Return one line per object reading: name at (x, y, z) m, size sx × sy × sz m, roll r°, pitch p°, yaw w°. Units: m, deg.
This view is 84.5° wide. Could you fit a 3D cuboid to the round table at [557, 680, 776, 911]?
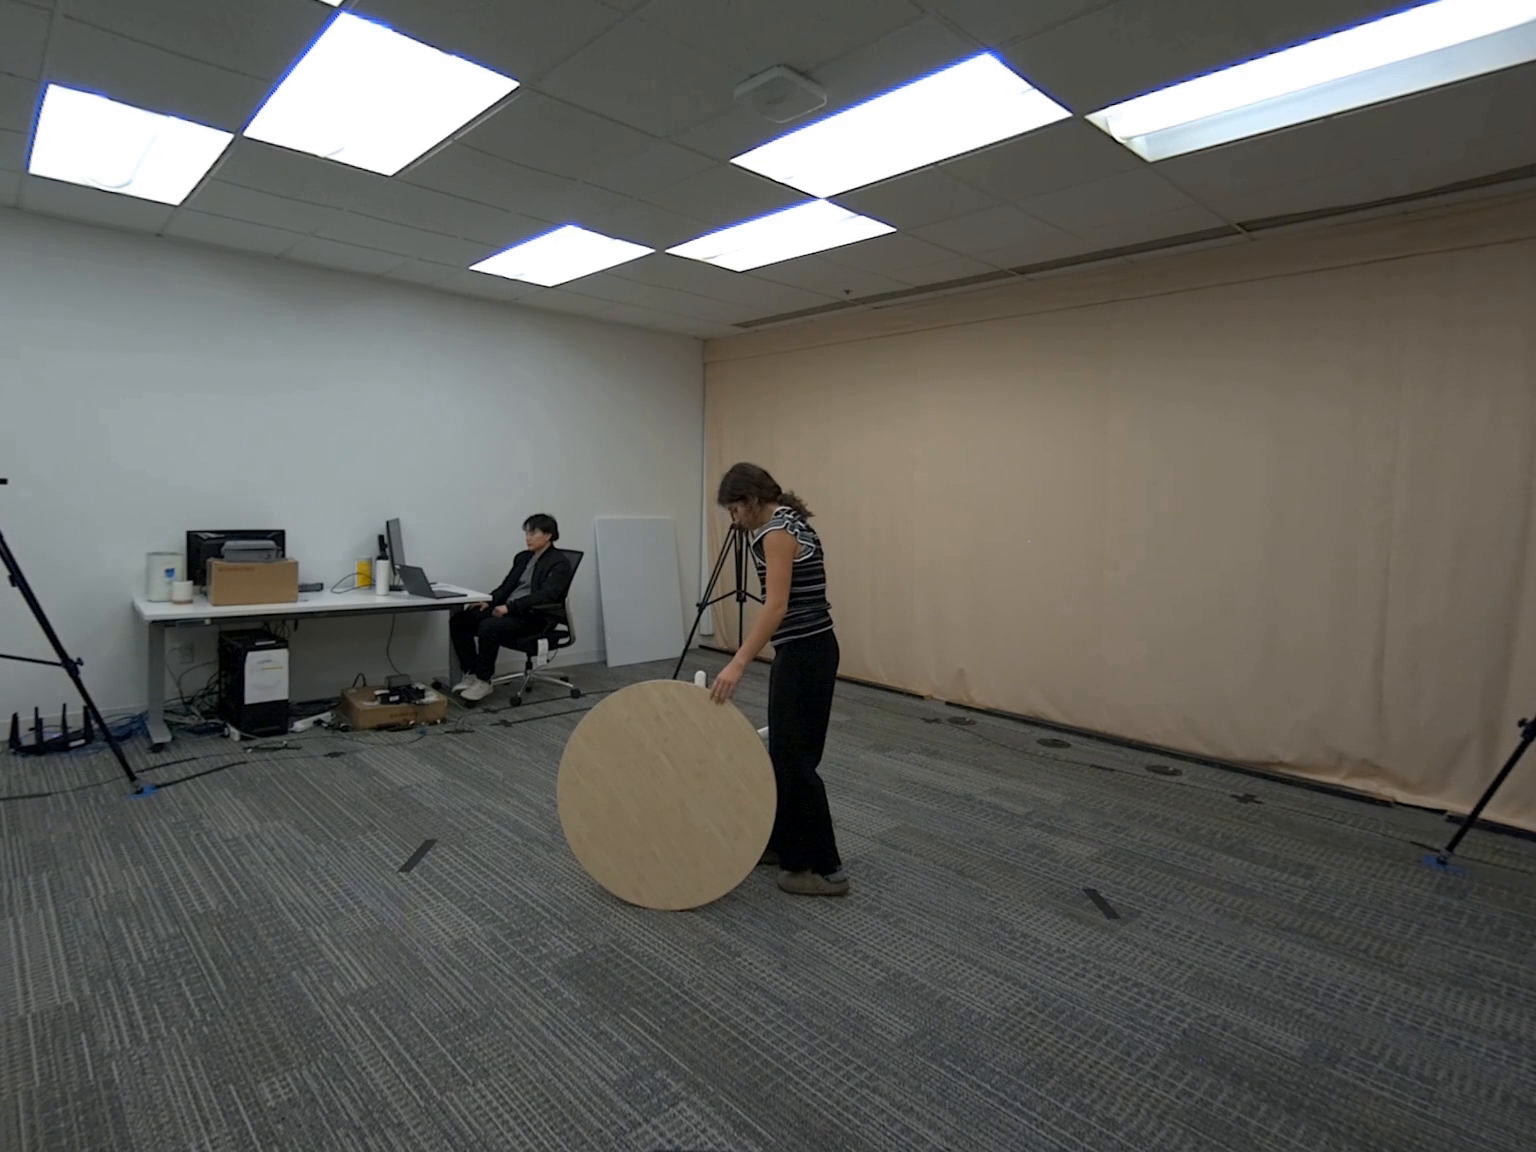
round table at (-0.323, 0.760, 3.256) m, size 0.769 × 0.765 × 0.787 m, roll 2°, pitch -2°, yaw 7°
